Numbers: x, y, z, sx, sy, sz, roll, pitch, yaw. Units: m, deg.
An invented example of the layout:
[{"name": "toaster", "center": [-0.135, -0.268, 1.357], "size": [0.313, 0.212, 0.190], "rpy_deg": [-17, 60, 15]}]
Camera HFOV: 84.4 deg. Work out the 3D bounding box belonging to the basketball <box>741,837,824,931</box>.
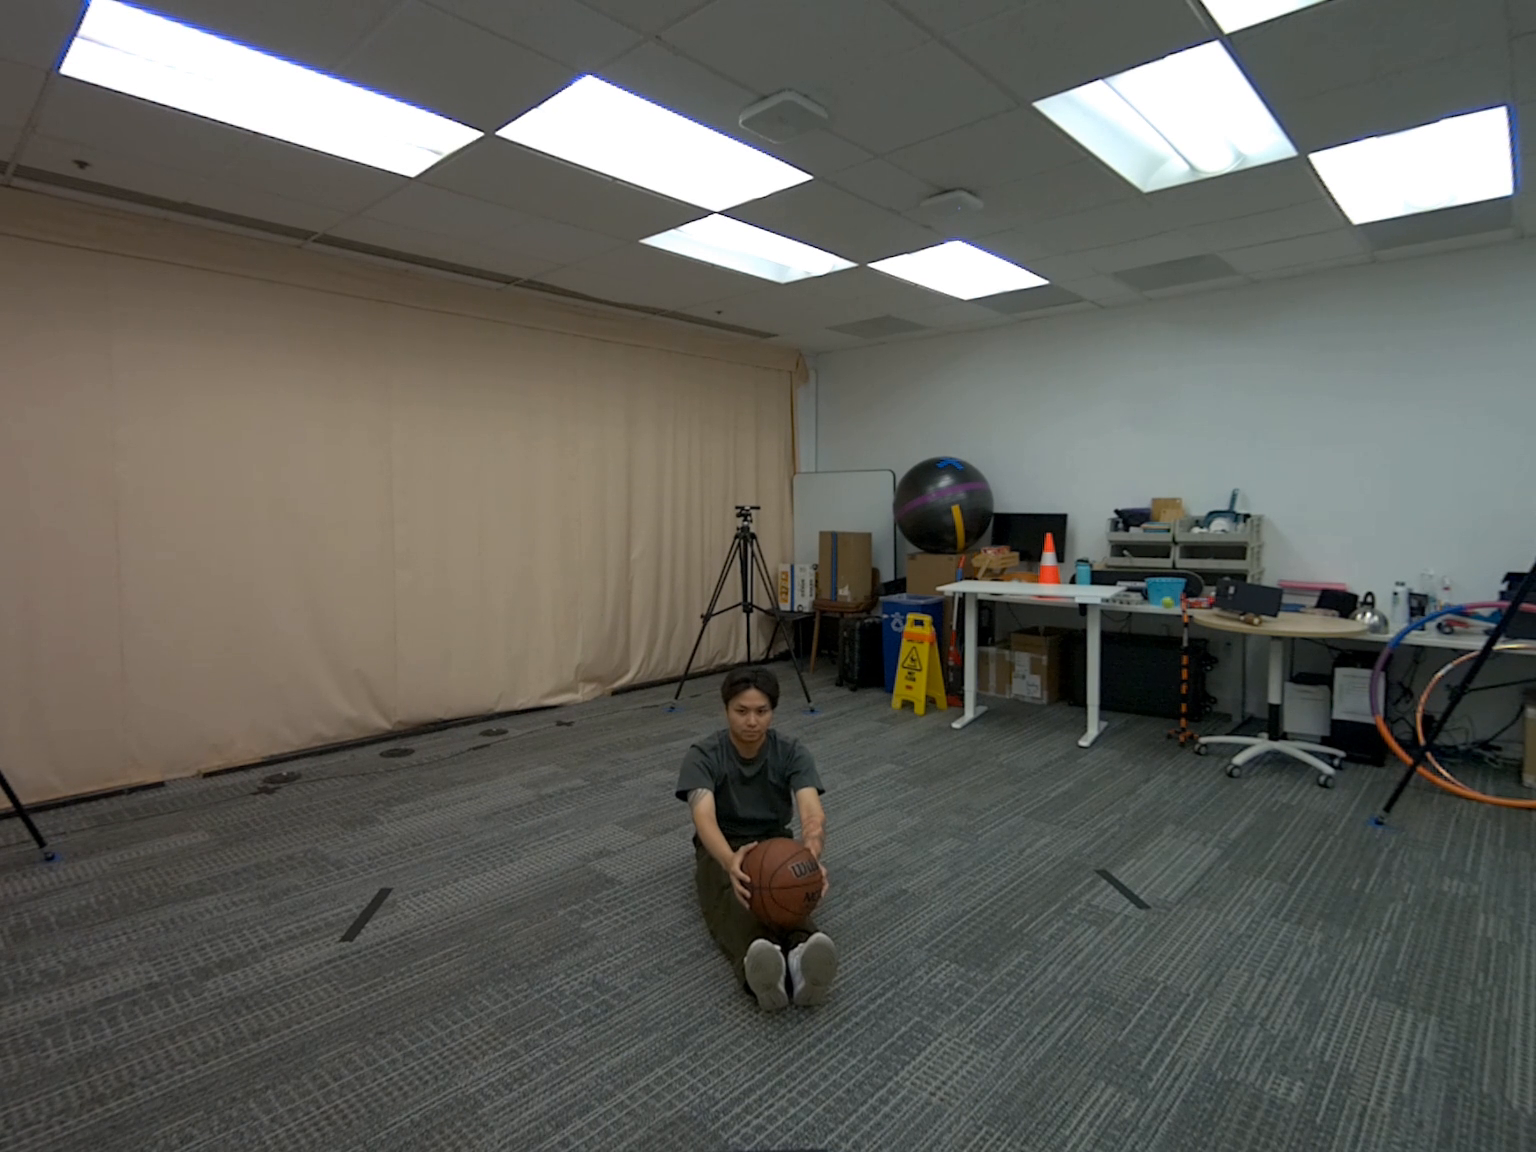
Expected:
[{"name": "basketball", "center": [0.050, 0.886, 2.451], "size": [0.236, 0.235, 0.237], "rpy_deg": [0, 4, -2]}]
